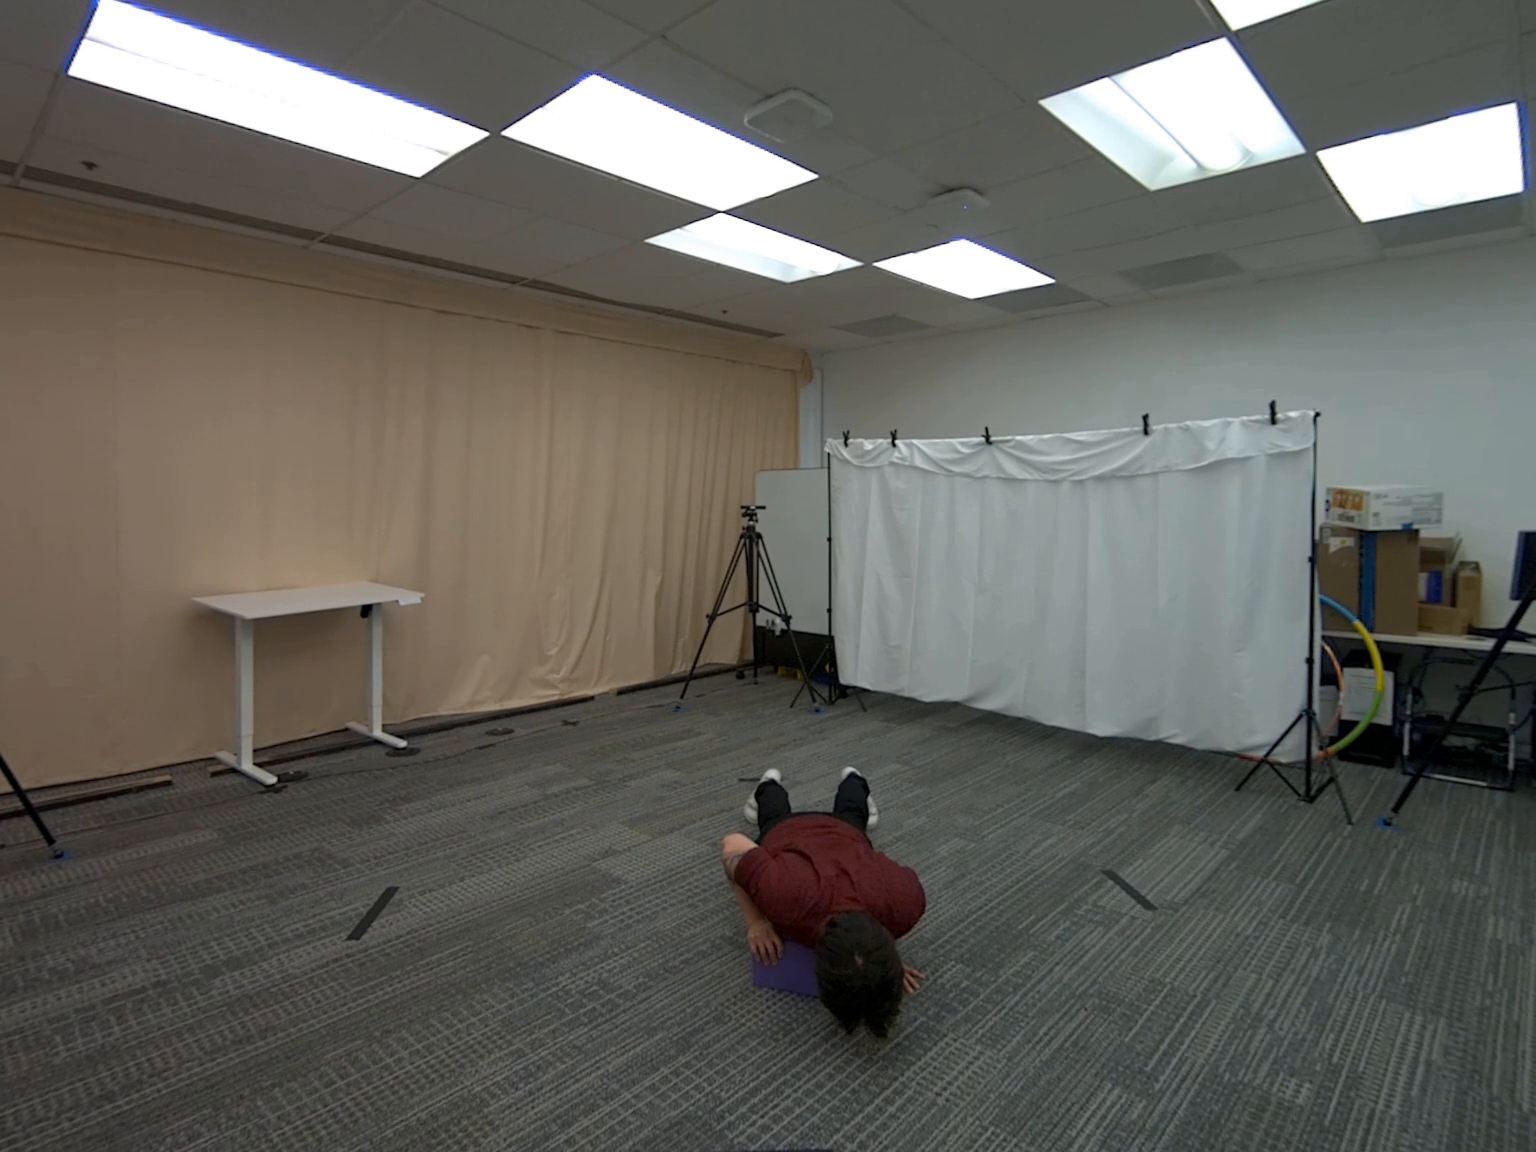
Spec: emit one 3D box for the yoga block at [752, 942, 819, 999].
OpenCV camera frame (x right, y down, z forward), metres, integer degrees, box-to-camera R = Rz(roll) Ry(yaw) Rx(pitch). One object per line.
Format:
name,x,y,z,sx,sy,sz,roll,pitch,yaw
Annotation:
yoga block,0.070,1.118,2.449,0.234,0.148,0.075,6,5,17
